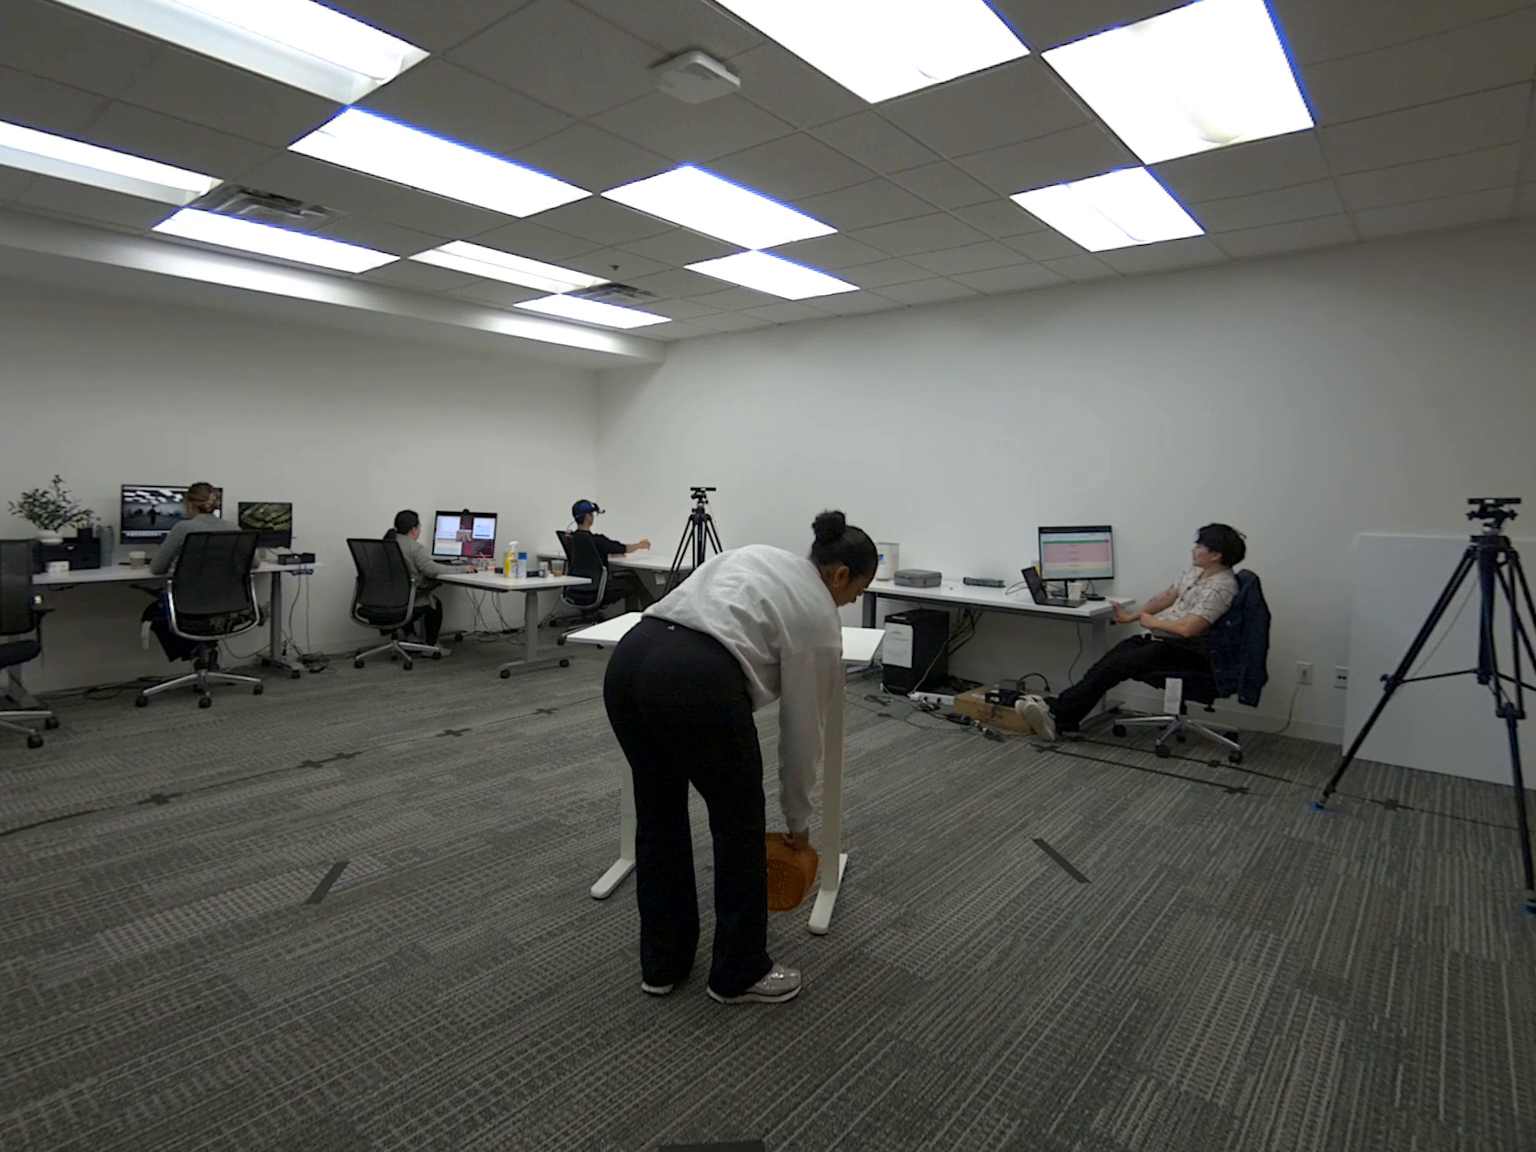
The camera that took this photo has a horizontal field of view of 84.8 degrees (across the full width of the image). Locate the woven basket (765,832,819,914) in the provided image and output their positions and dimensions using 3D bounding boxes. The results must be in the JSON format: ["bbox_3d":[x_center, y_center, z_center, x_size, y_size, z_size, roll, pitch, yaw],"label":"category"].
[{"bbox_3d":[0.016,0.879,2.553,0.255,0.339,0.075,-1,38,9],"label":"woven basket"}]
